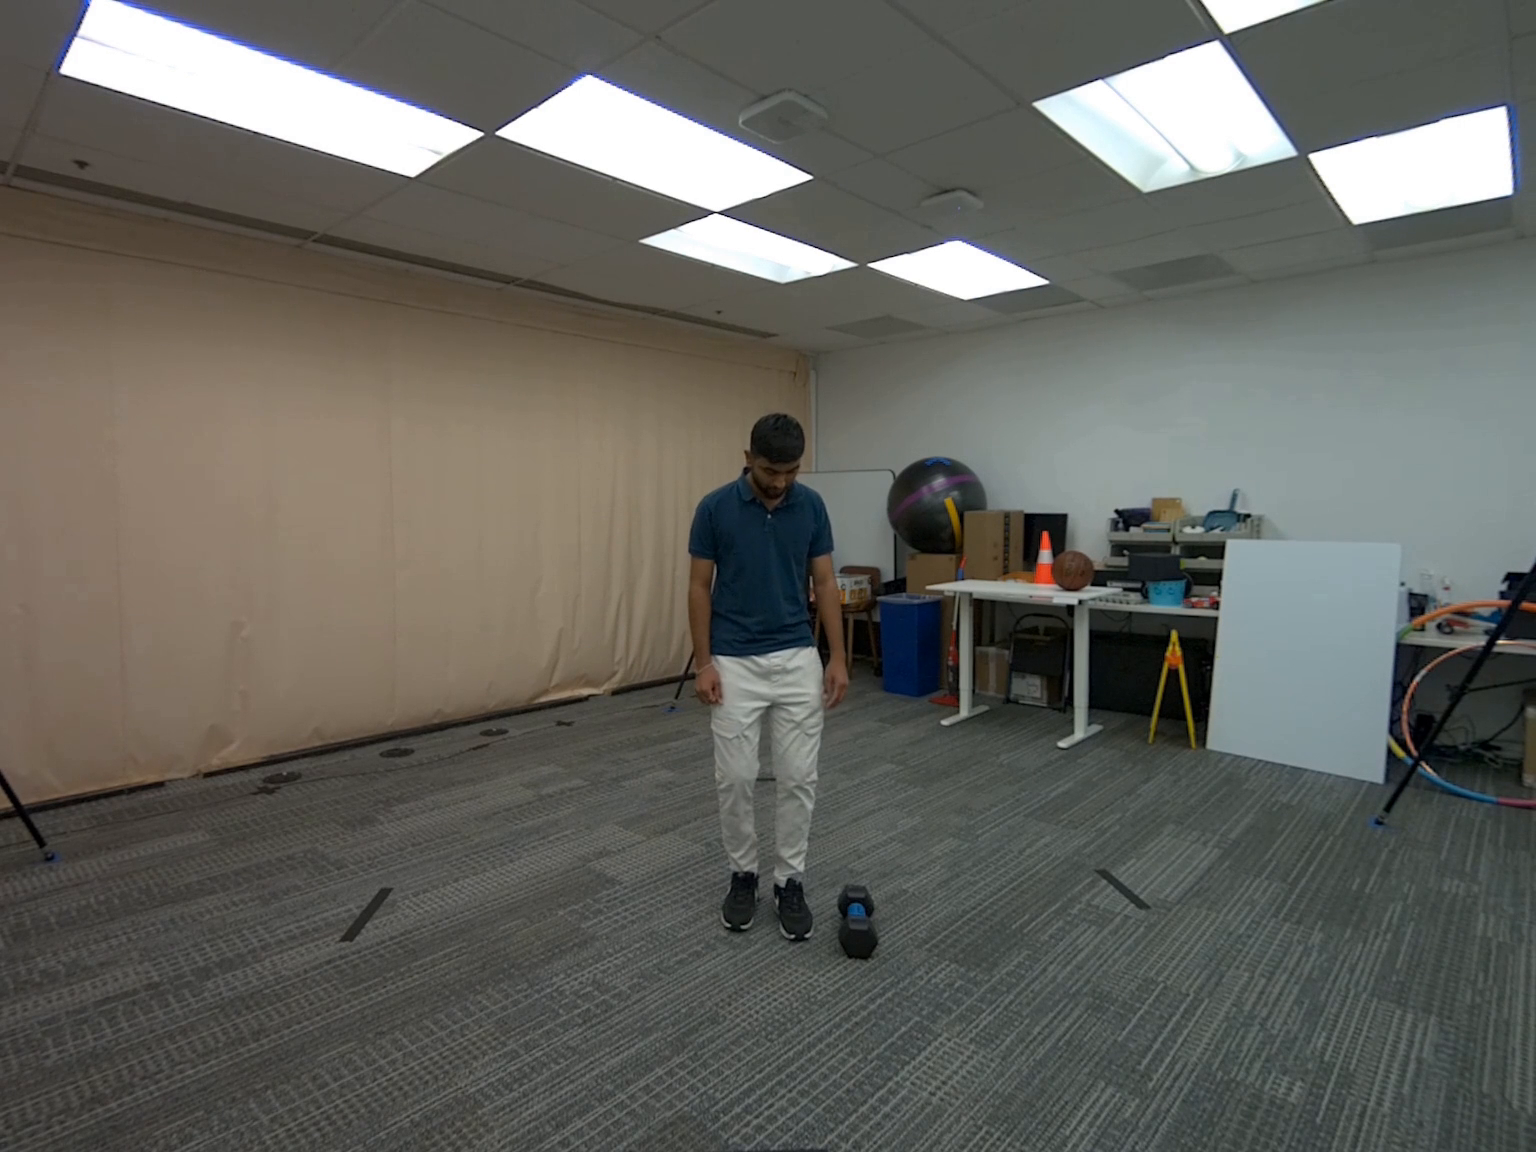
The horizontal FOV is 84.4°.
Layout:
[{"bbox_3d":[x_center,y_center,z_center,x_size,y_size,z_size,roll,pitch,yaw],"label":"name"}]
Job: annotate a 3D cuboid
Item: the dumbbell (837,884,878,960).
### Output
[{"bbox_3d":[0.292,1.113,2.715,0.109,0.123,0.292,-29,2,6],"label":"dumbbell"}]
